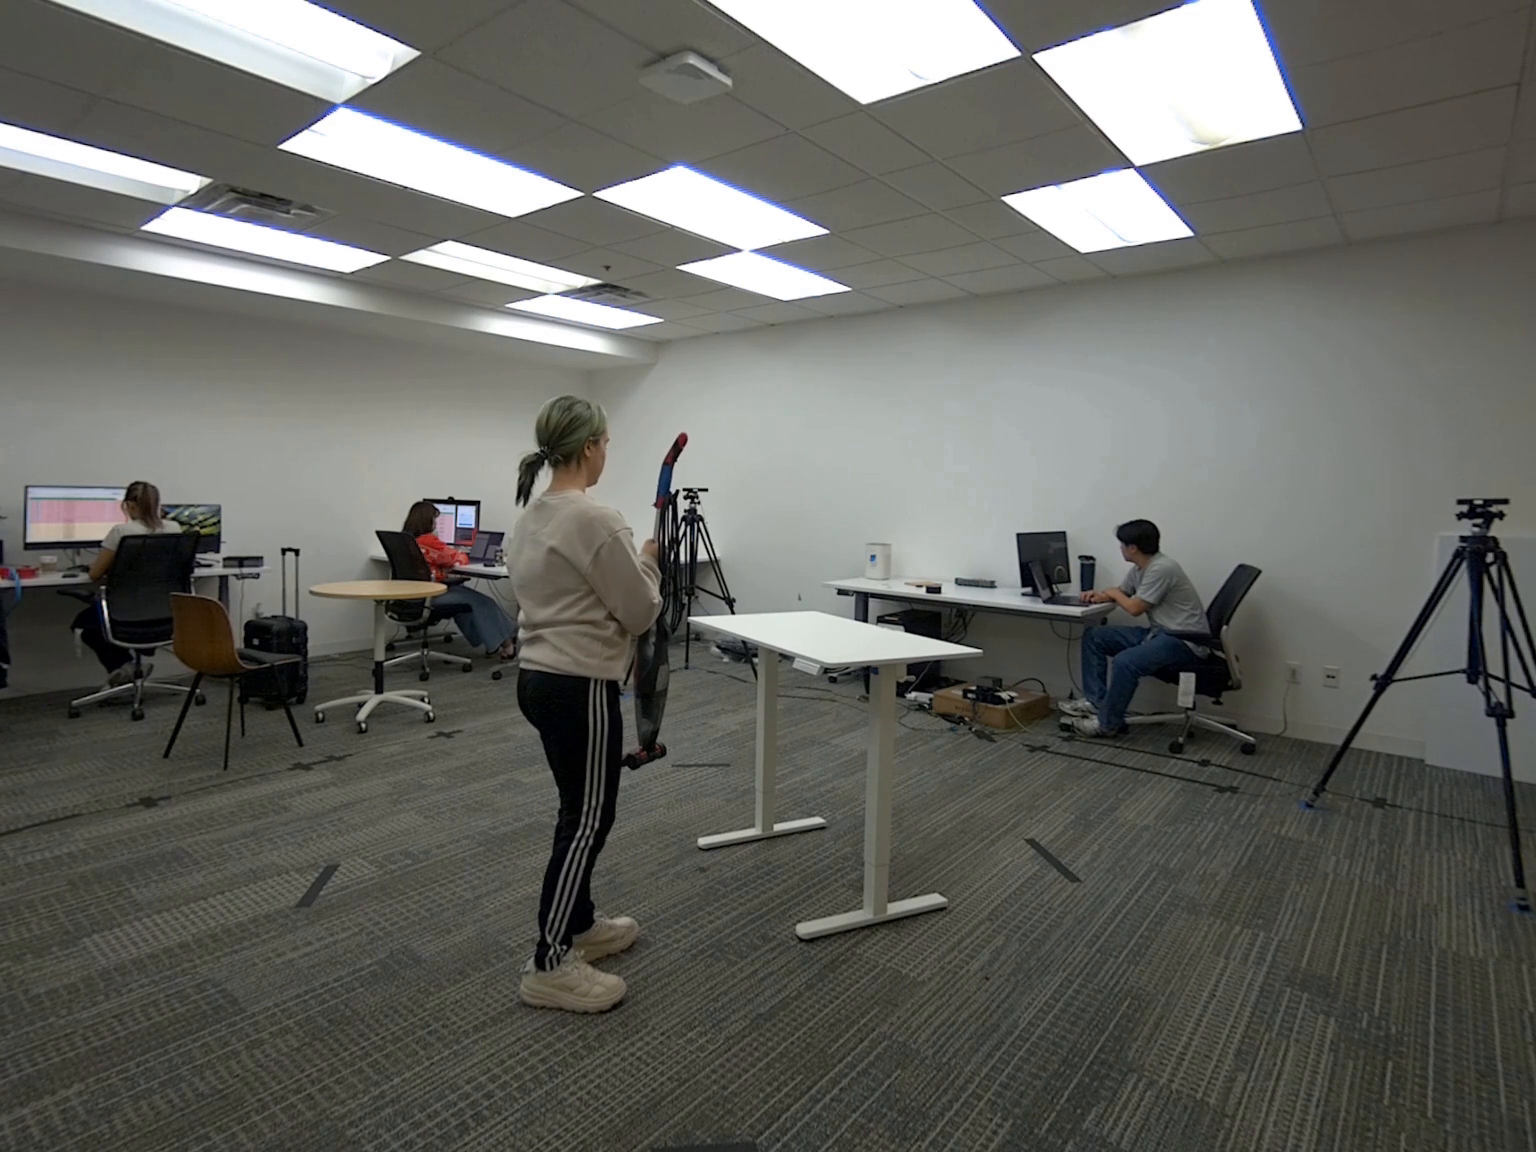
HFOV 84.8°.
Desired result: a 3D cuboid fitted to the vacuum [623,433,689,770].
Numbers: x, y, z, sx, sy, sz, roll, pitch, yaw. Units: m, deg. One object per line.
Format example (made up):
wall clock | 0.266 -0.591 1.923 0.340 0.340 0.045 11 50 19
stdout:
vacuum | -0.333 0.100 2.546 0.149 1.037 0.247 20 18 30
